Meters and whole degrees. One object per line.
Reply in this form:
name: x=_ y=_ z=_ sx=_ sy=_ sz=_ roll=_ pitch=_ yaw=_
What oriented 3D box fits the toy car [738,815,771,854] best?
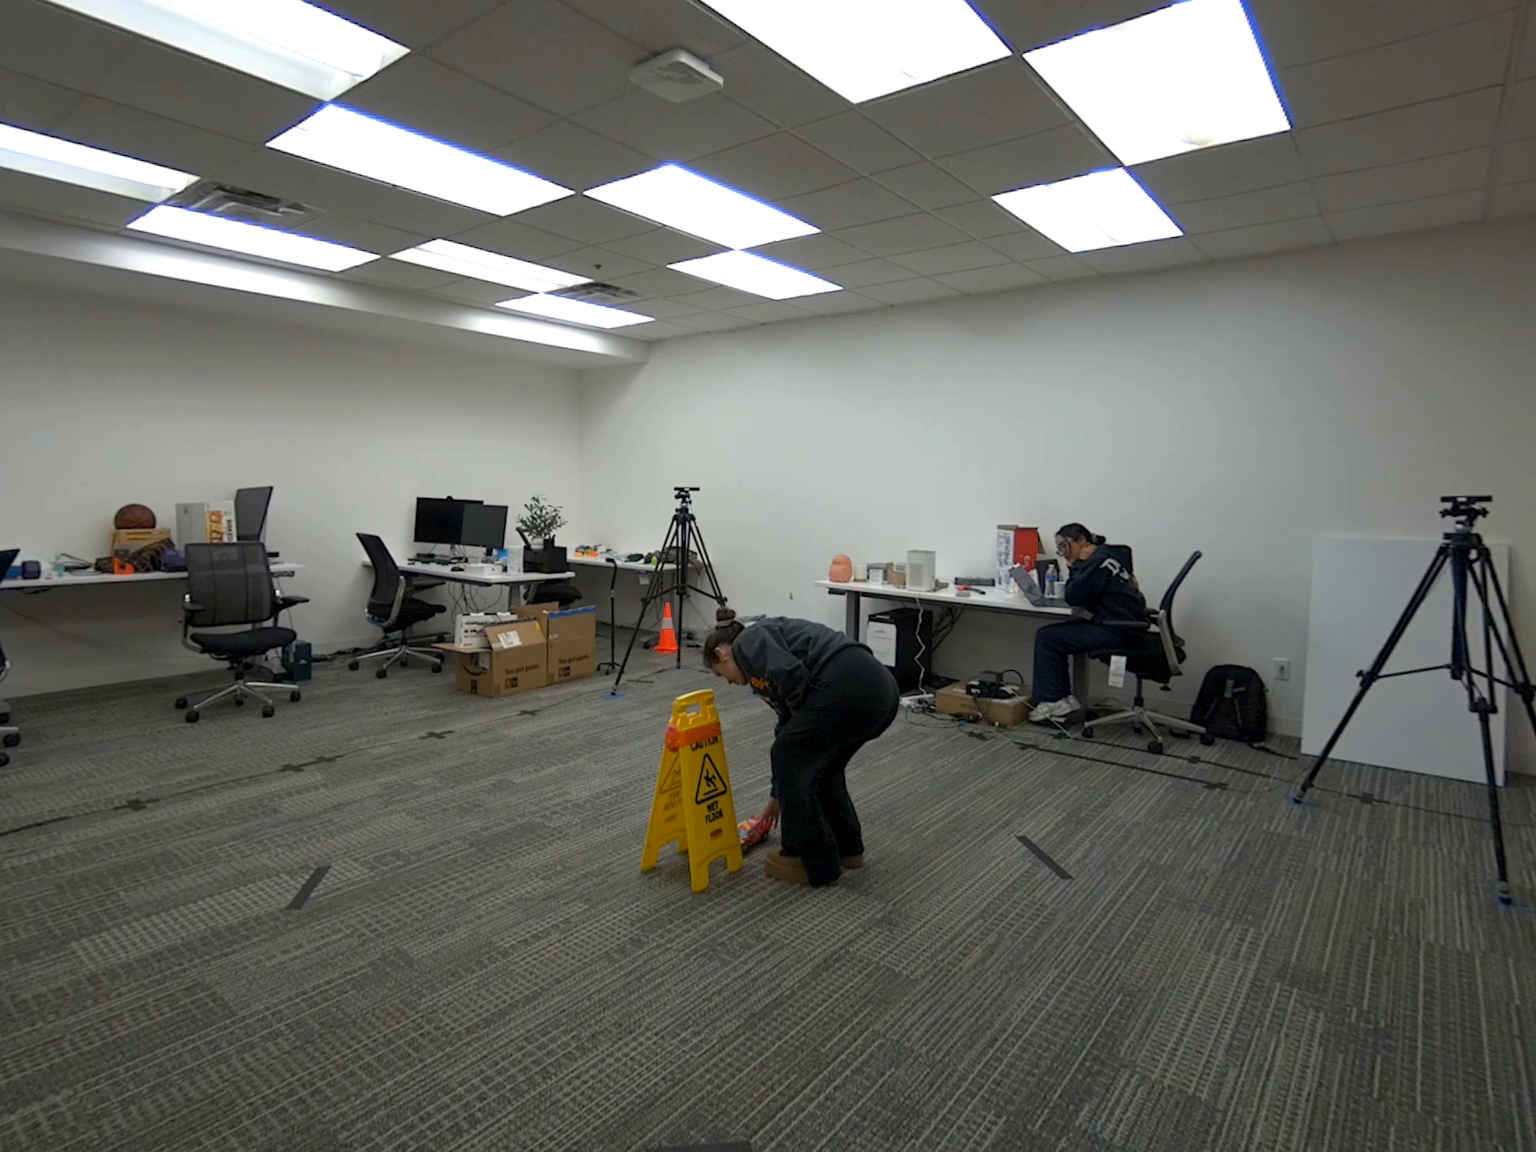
toy car: x=-0.082 y=1.017 z=3.347 sx=0.134 sy=0.082 sz=0.250 roll=4 pitch=19 yaw=34
